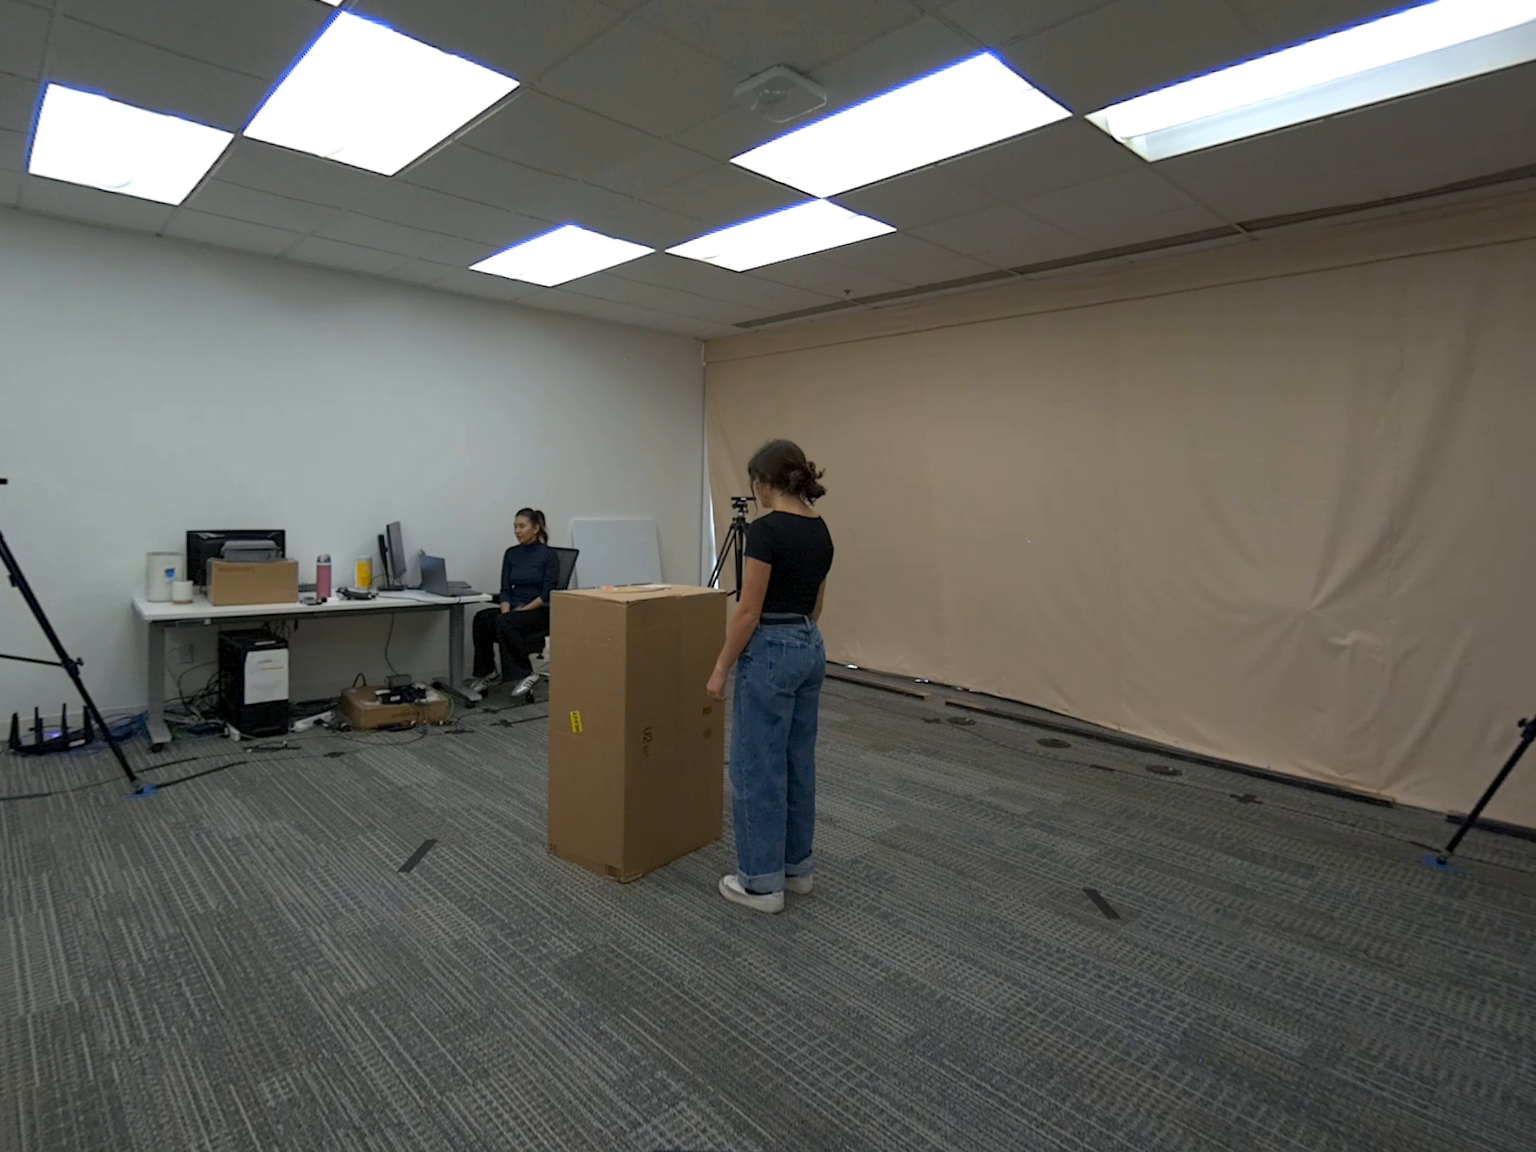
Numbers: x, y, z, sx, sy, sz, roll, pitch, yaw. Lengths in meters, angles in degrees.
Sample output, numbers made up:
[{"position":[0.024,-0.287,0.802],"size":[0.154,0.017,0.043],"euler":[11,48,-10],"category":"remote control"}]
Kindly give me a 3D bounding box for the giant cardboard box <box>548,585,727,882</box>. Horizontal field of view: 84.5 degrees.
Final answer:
[{"position":[-0.519,0.568,3.350],"size":[0.437,1.023,0.565],"euler":[4,4,37],"category":"giant cardboard box"}]
